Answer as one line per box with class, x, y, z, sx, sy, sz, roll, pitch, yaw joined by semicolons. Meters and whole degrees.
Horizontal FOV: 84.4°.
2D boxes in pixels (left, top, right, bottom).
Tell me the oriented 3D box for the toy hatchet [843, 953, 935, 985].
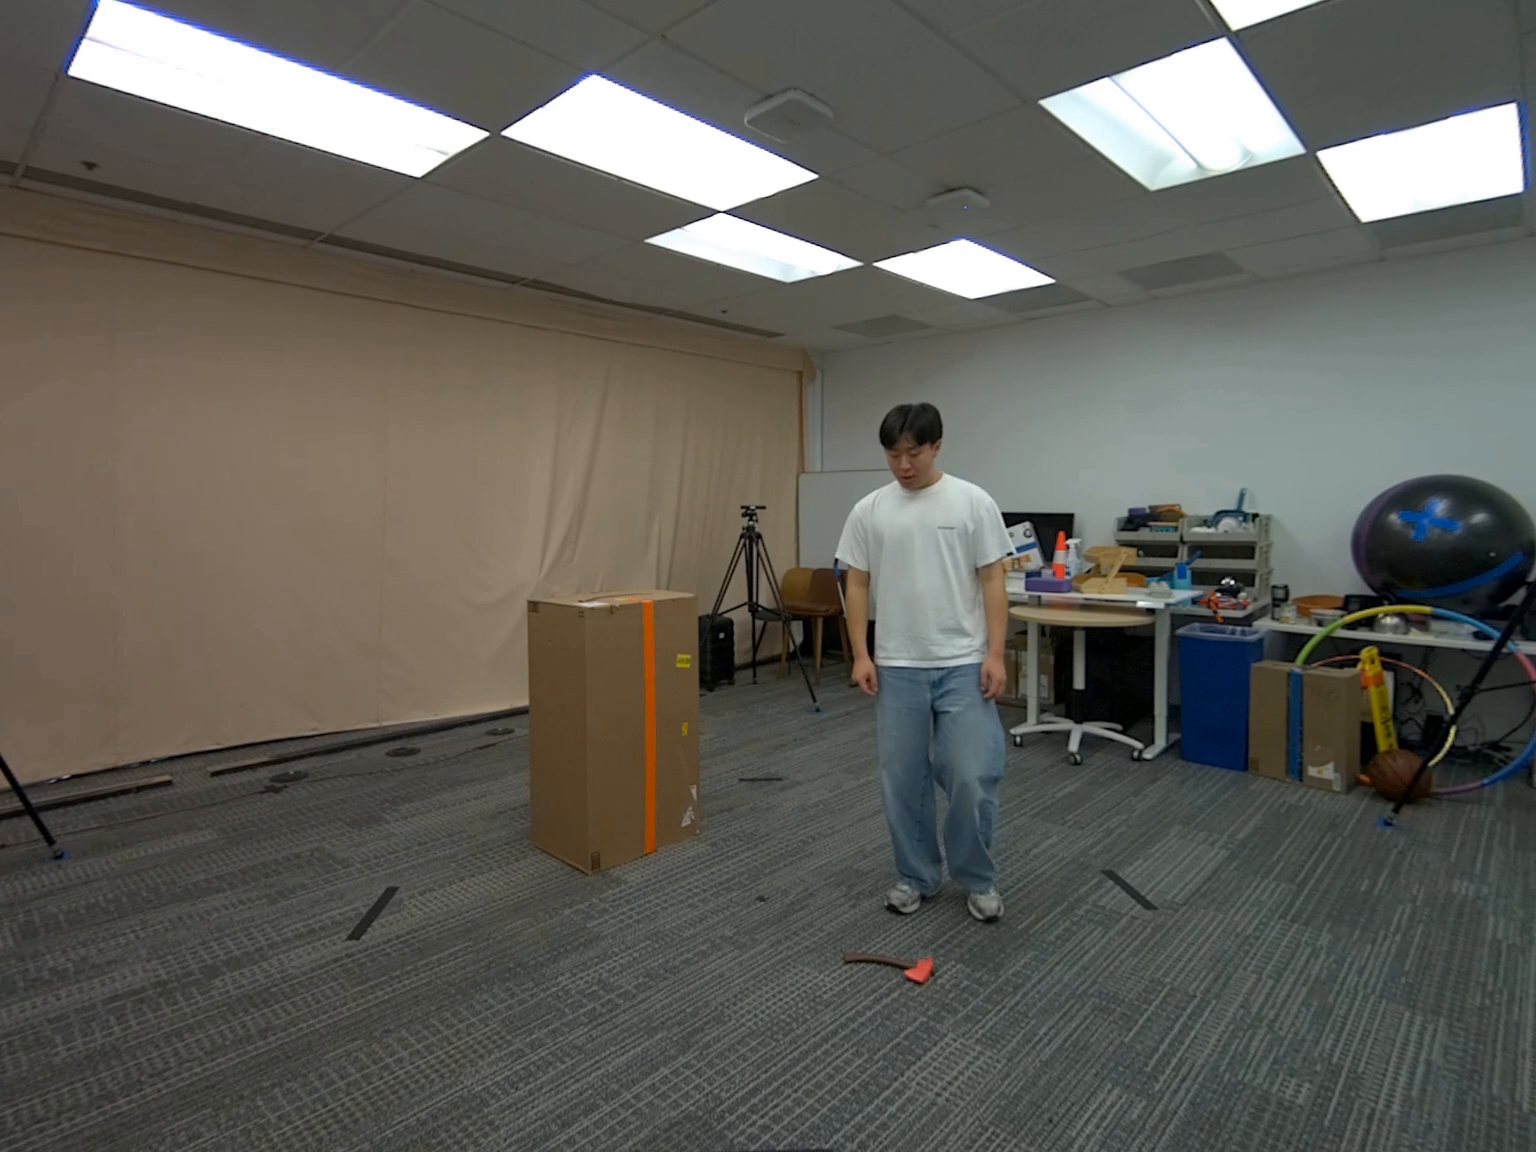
toy hatchet;0.366;1.172;2.508;0.272;0.029;0.130;-2;5;7
